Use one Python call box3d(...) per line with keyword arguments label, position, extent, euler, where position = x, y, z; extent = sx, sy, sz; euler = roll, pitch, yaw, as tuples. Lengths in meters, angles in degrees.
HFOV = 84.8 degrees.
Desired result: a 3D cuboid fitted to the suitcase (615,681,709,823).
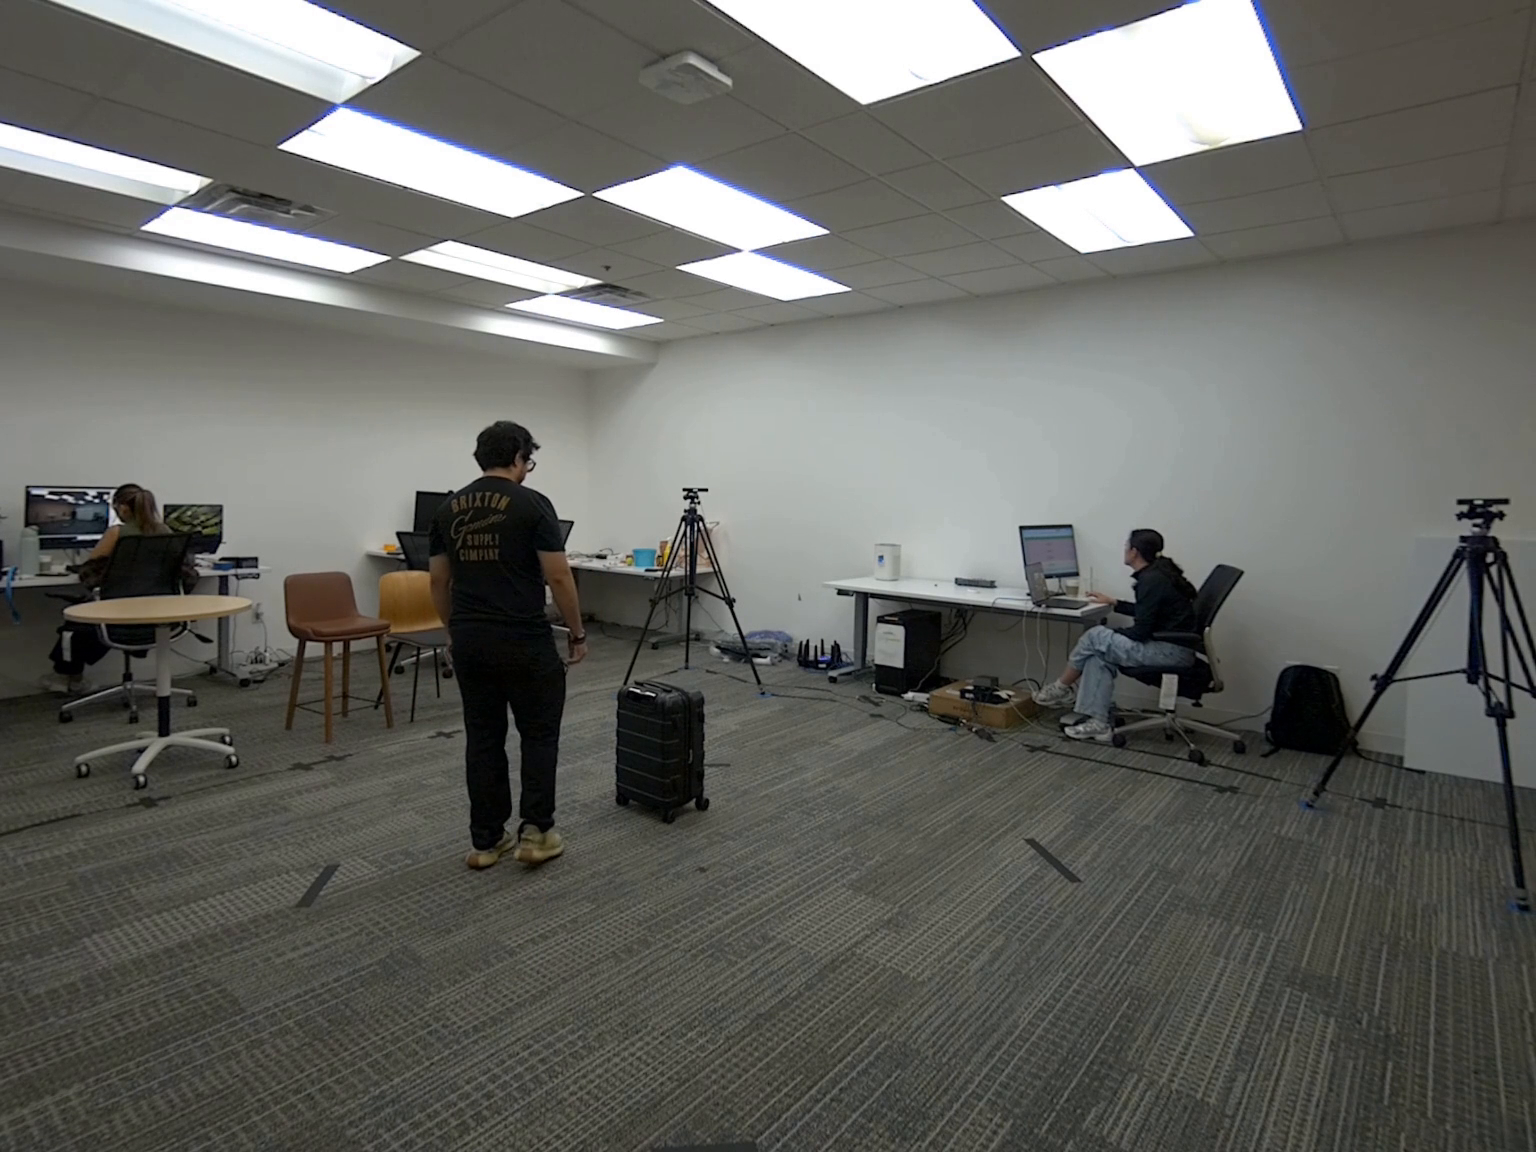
box3d(label="suitcase", position=(-0.481, 0.732, 3.699), extent=(0.388, 0.547, 0.241), euler=(4, 5, 41))
